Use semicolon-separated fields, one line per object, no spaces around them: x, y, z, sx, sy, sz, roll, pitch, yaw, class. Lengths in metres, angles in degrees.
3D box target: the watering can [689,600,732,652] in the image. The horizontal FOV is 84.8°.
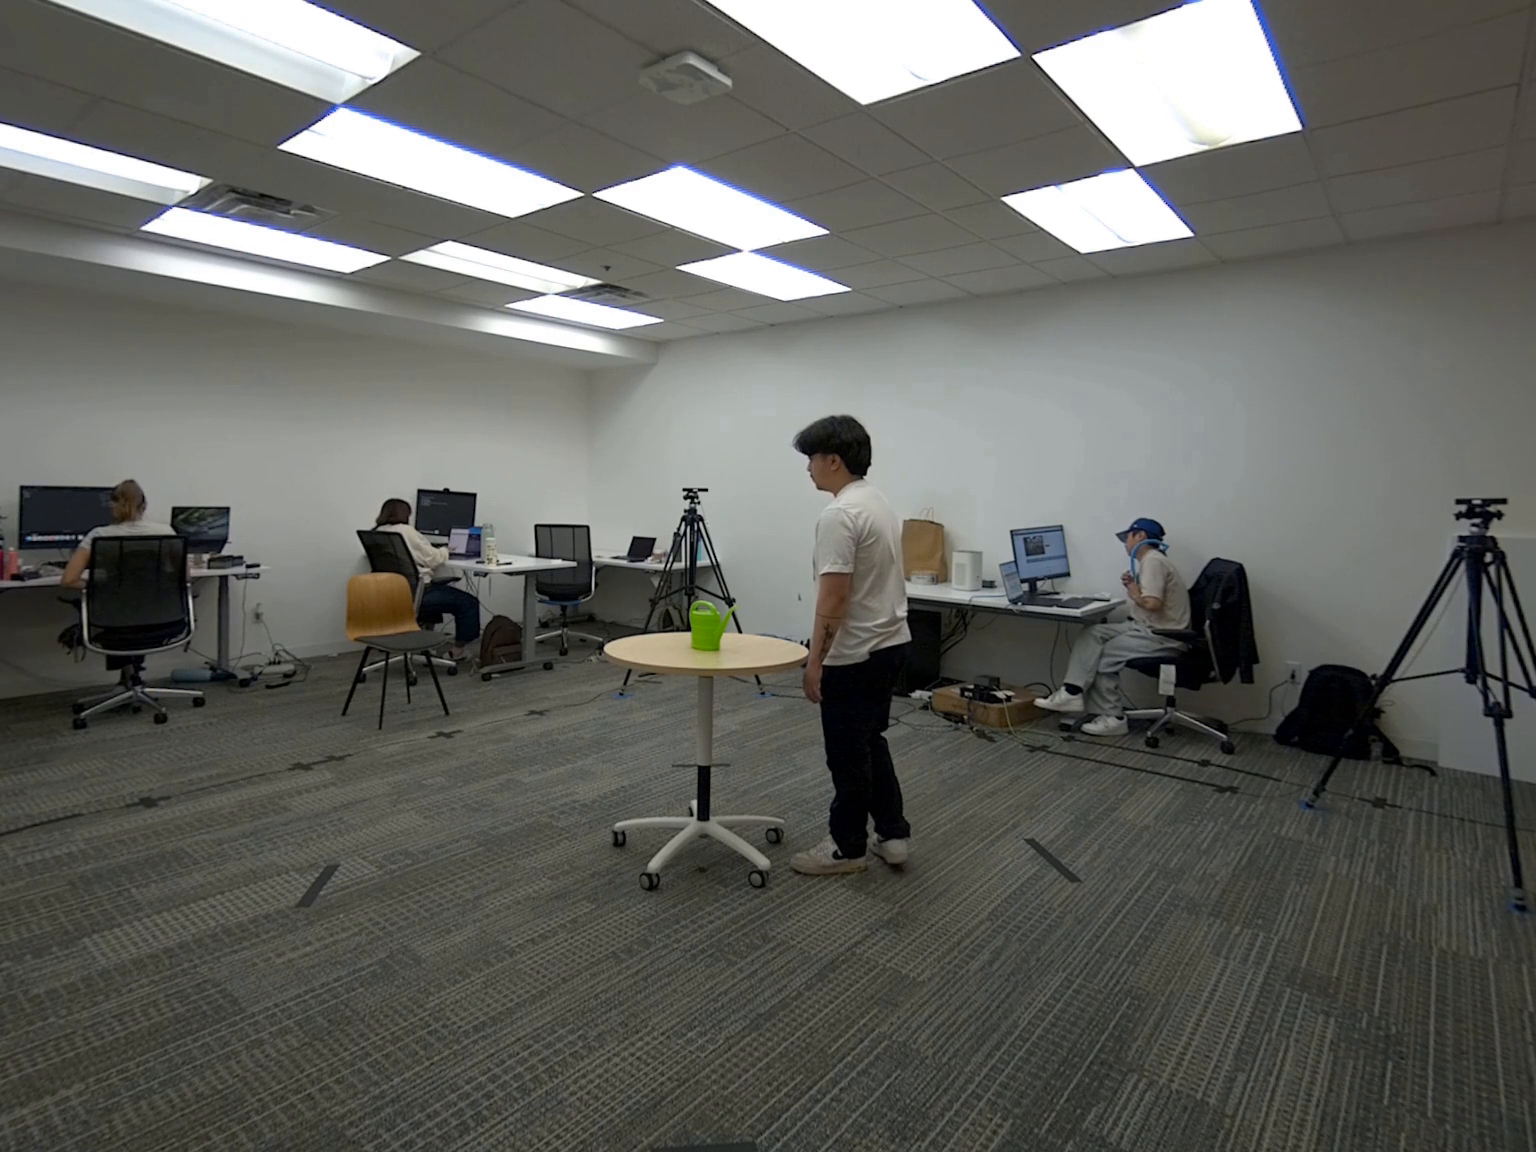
-0.222;0.183;3.169;0.095;0.176;0.286;-1;5;-29;watering can
